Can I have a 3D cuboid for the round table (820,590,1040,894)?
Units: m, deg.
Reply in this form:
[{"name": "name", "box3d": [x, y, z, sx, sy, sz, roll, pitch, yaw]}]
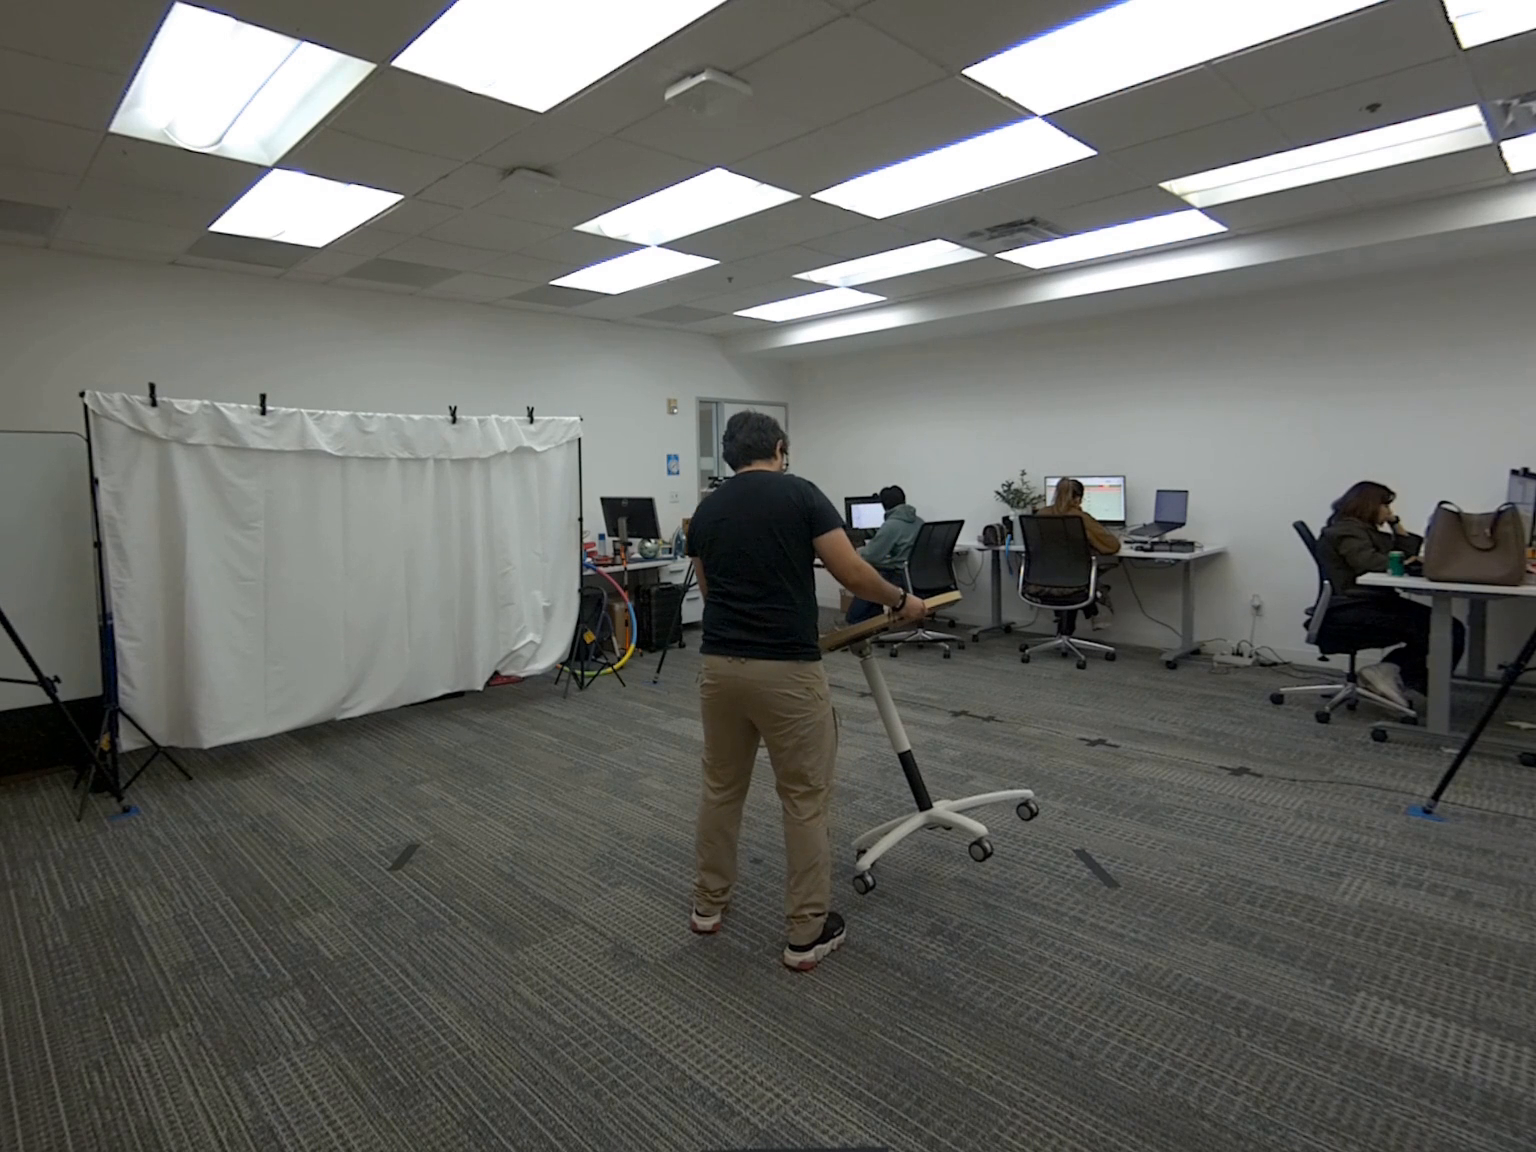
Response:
[{"name": "round table", "box3d": [0.468, 0.554, 2.943, 0.782, 0.797, 0.777, -20, -10, -5]}]
